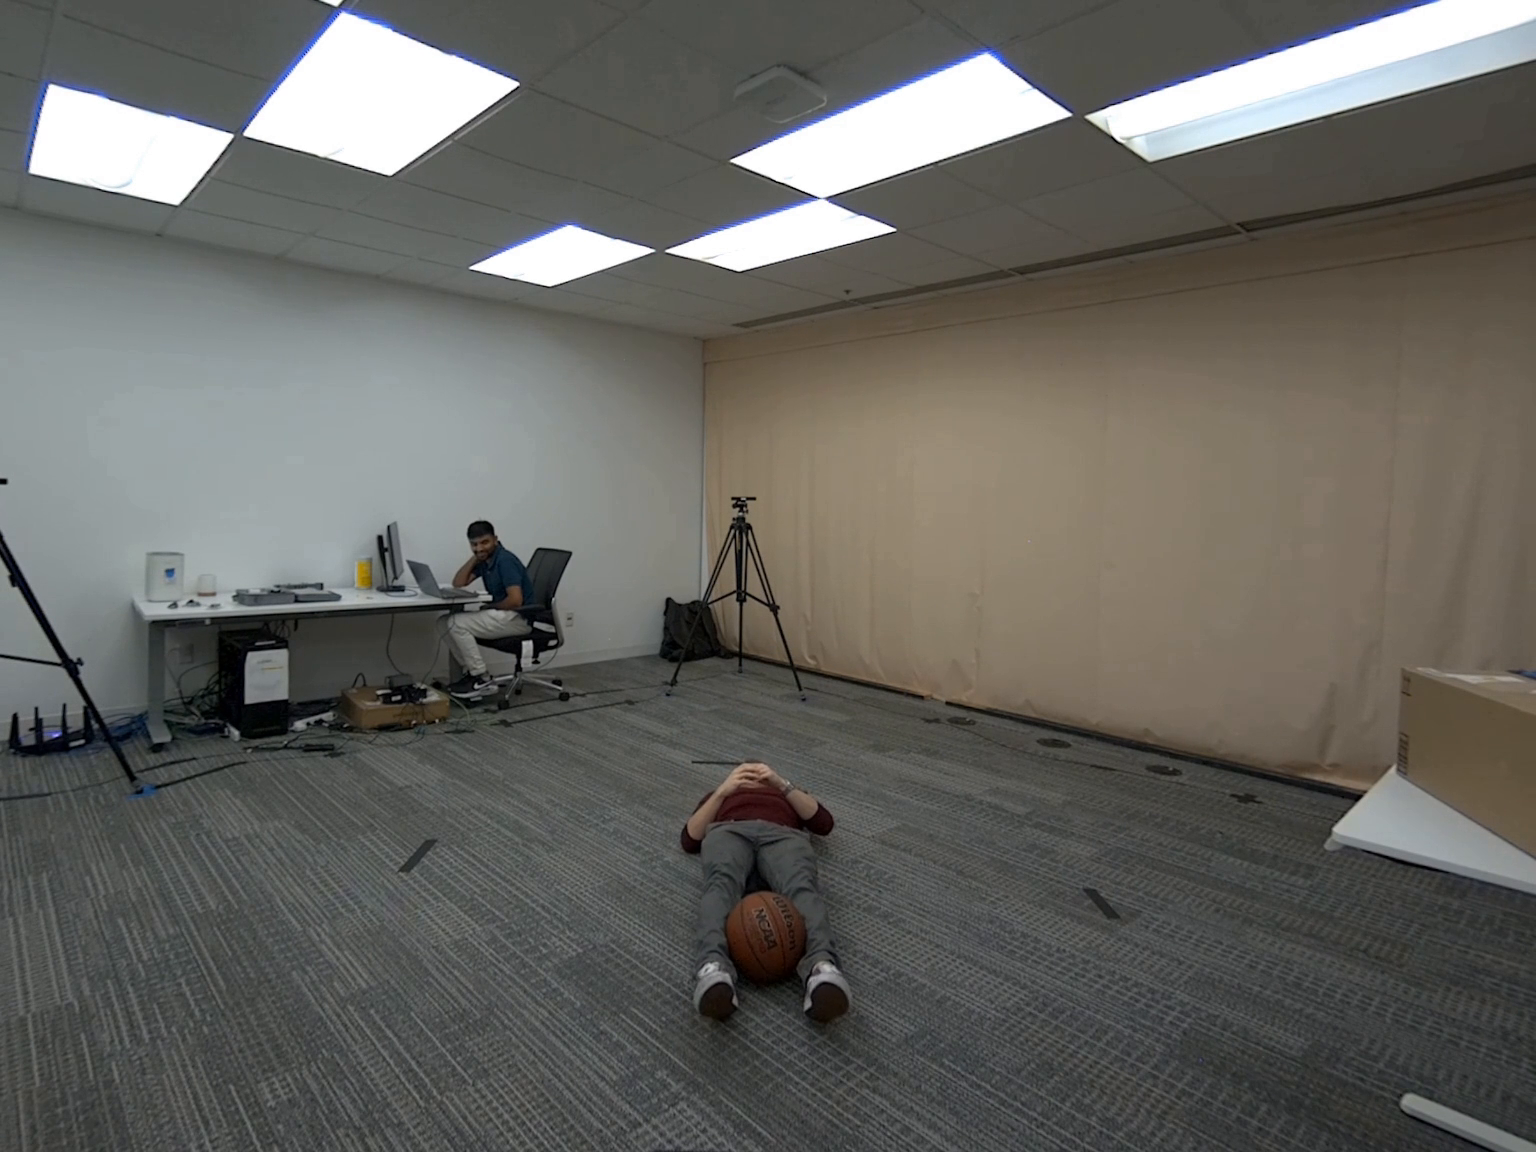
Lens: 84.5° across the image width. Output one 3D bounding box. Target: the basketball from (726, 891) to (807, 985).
[{"bbox_3d":[-0.011,1.045,2.443,0.236,0.235,0.237,1,4,-1],"label":"basketball"}]
